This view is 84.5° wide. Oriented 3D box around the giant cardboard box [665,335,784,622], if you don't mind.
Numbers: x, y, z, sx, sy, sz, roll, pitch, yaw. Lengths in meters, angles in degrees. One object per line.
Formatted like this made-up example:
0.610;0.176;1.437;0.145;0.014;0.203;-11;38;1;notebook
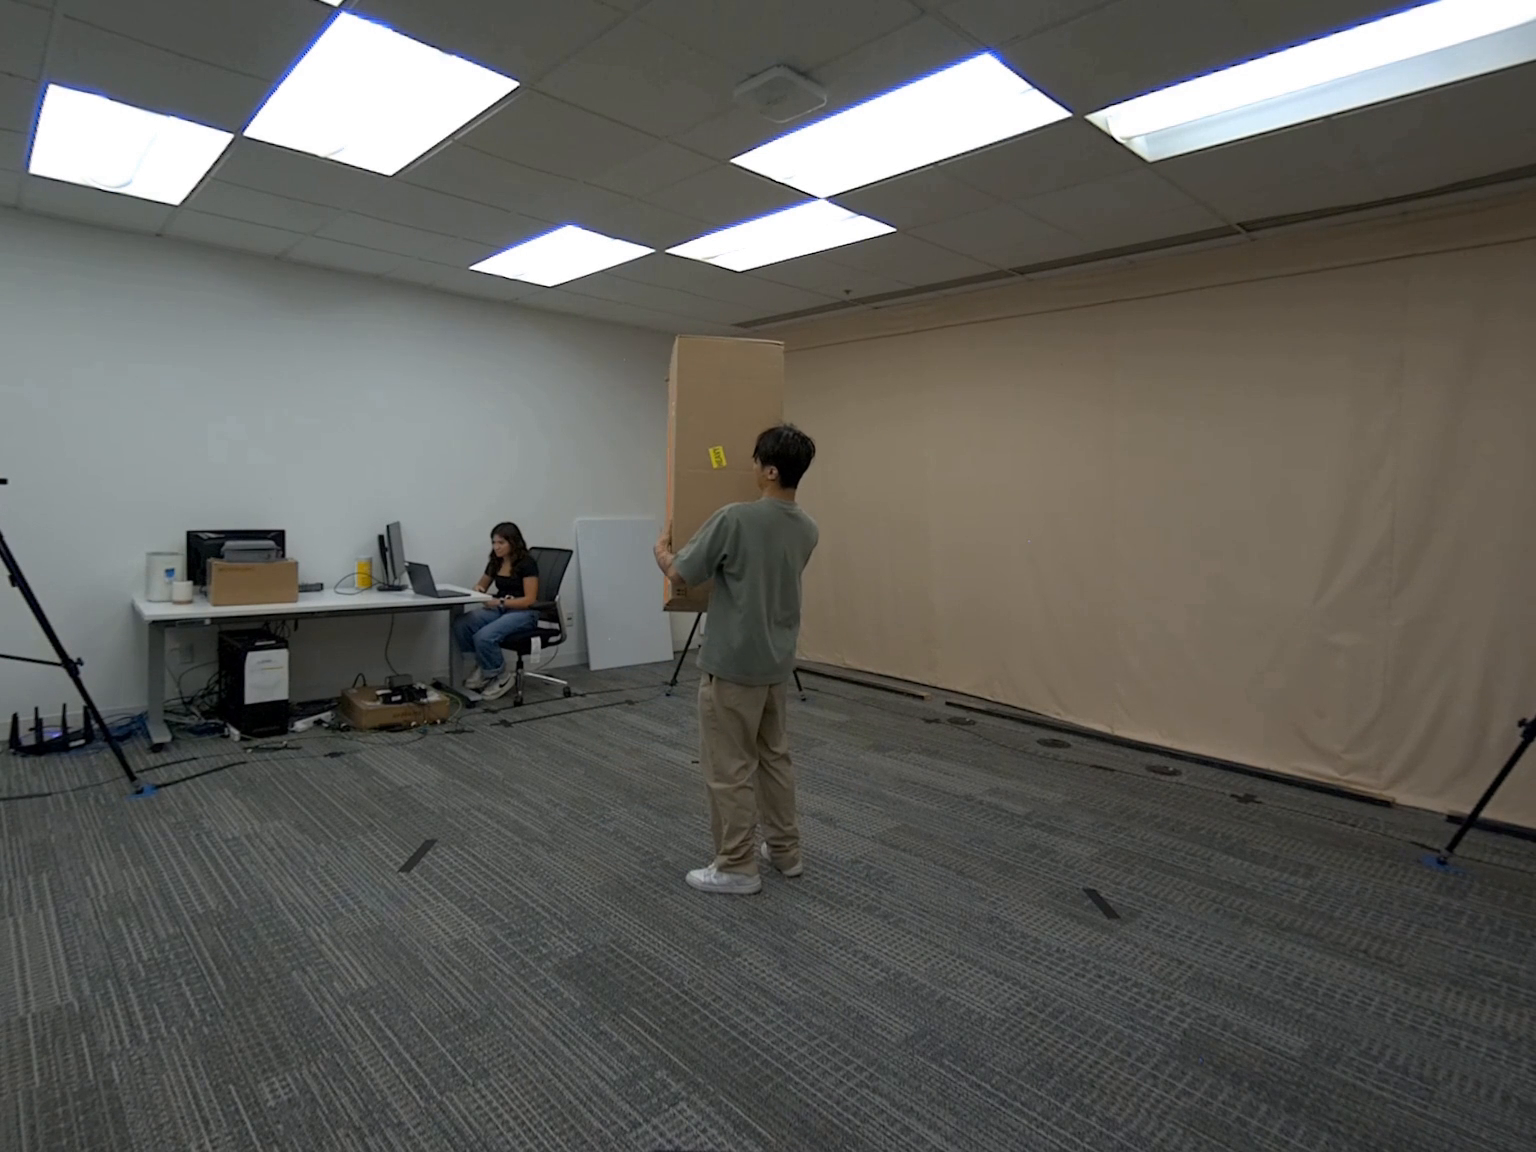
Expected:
-0.205;-0.383;3.458;0.423;1.032;0.578;2;-8;-9;giant cardboard box
